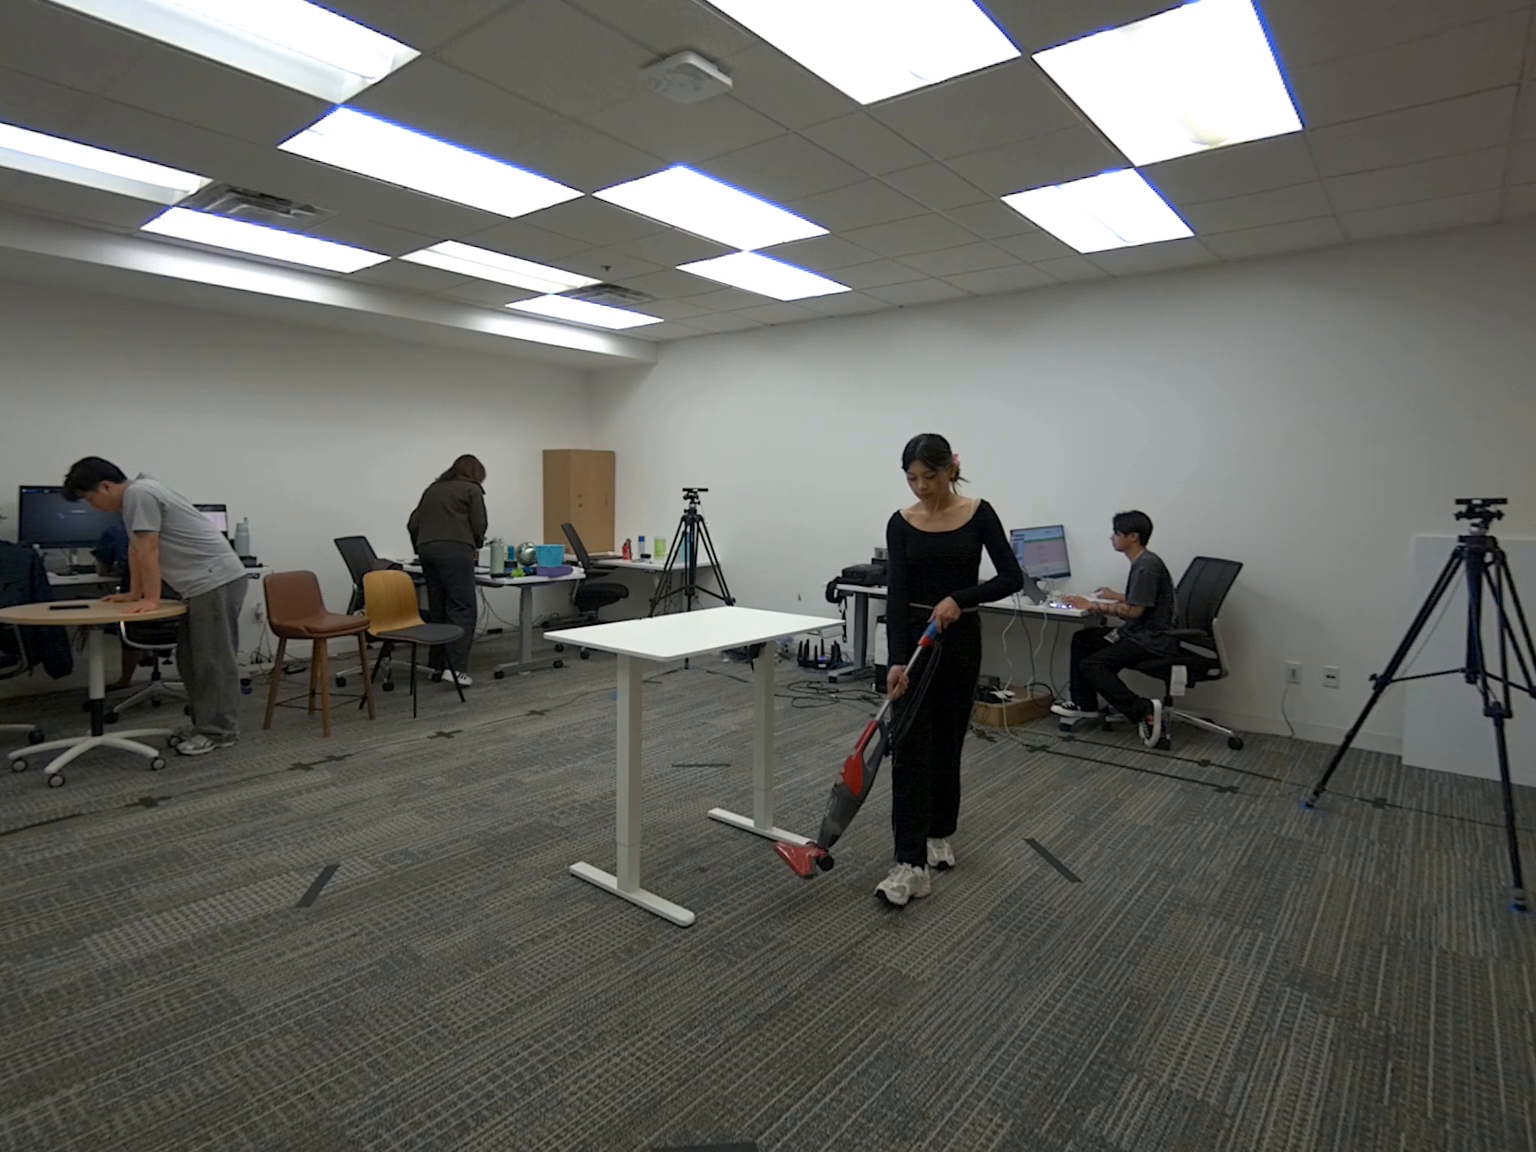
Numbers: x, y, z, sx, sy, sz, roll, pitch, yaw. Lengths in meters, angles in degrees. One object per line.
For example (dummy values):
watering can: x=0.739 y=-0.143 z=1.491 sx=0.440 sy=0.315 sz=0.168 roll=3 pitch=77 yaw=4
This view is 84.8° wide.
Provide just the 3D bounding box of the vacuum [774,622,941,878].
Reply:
vacuum: x=0.395 y=0.527 z=2.908 sx=0.139 sy=1.051 sz=0.261 roll=38 pitch=-9 yaw=-29
